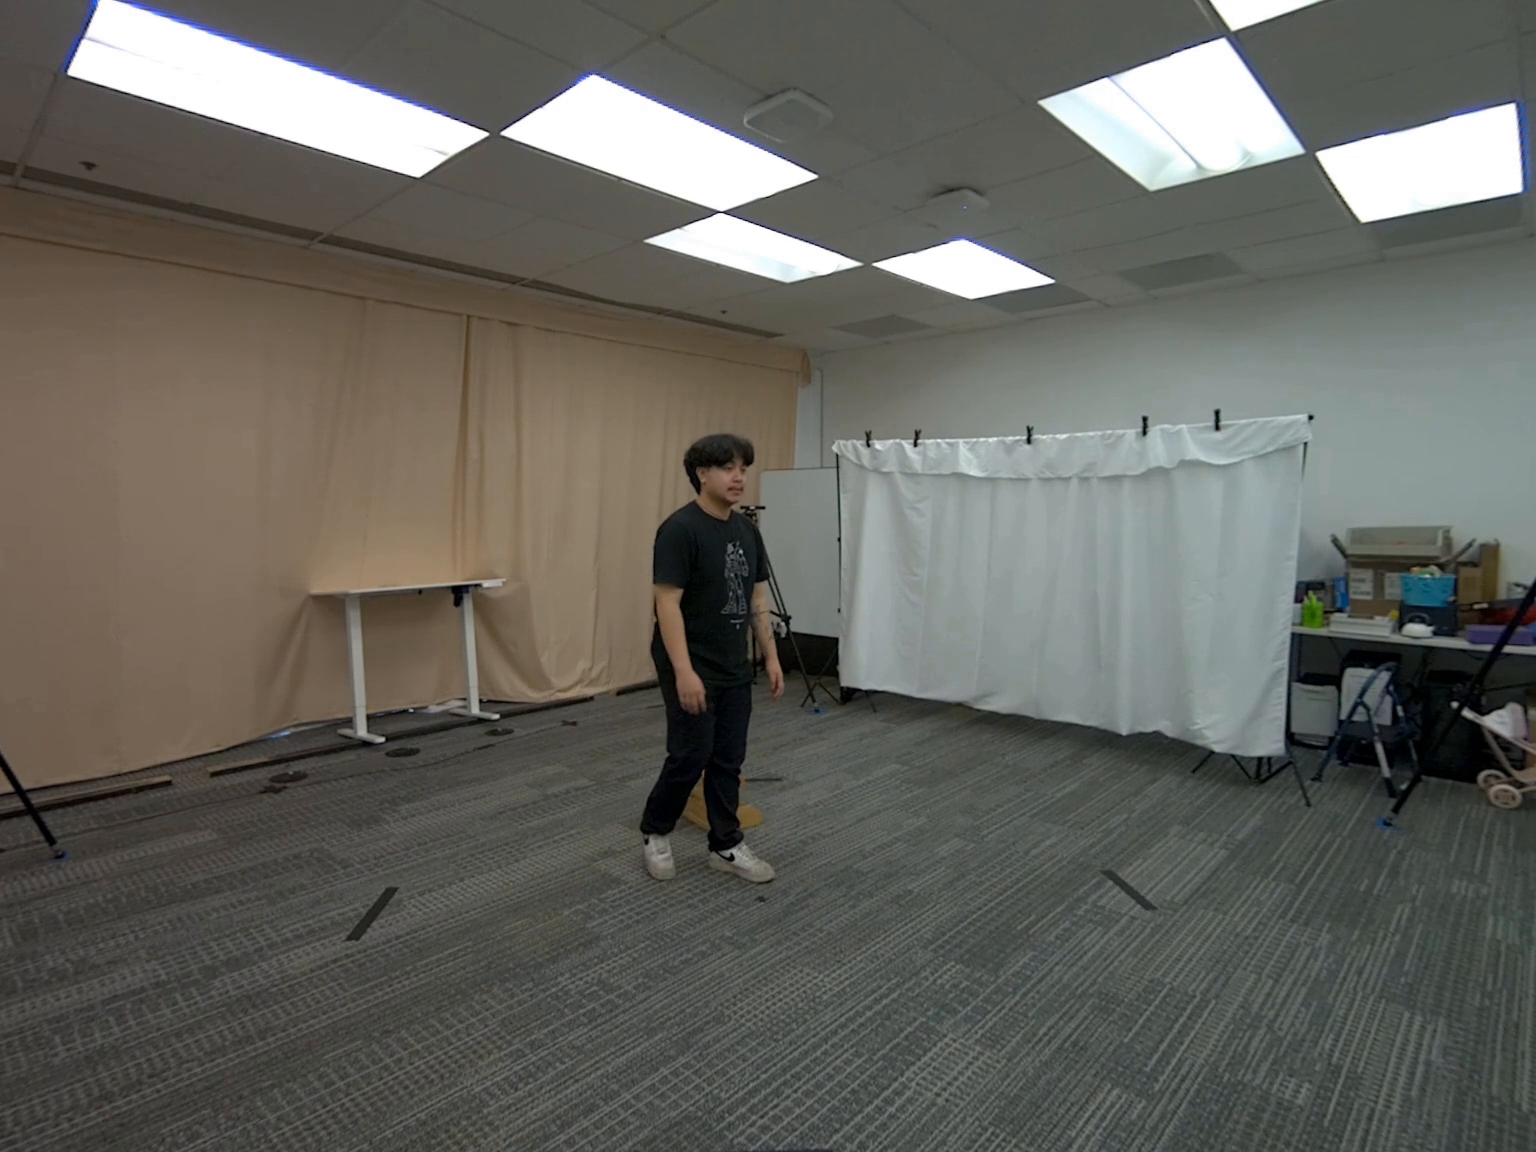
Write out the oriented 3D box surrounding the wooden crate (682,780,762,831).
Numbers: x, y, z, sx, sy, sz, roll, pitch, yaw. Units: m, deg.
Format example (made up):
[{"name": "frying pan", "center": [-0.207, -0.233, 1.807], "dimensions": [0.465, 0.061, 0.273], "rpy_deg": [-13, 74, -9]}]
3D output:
[{"name": "wooden crate", "center": [-0.228, 0.954, 3.731], "dimensions": [0.294, 0.273, 0.334], "rpy_deg": [-3, 4, -32]}]
